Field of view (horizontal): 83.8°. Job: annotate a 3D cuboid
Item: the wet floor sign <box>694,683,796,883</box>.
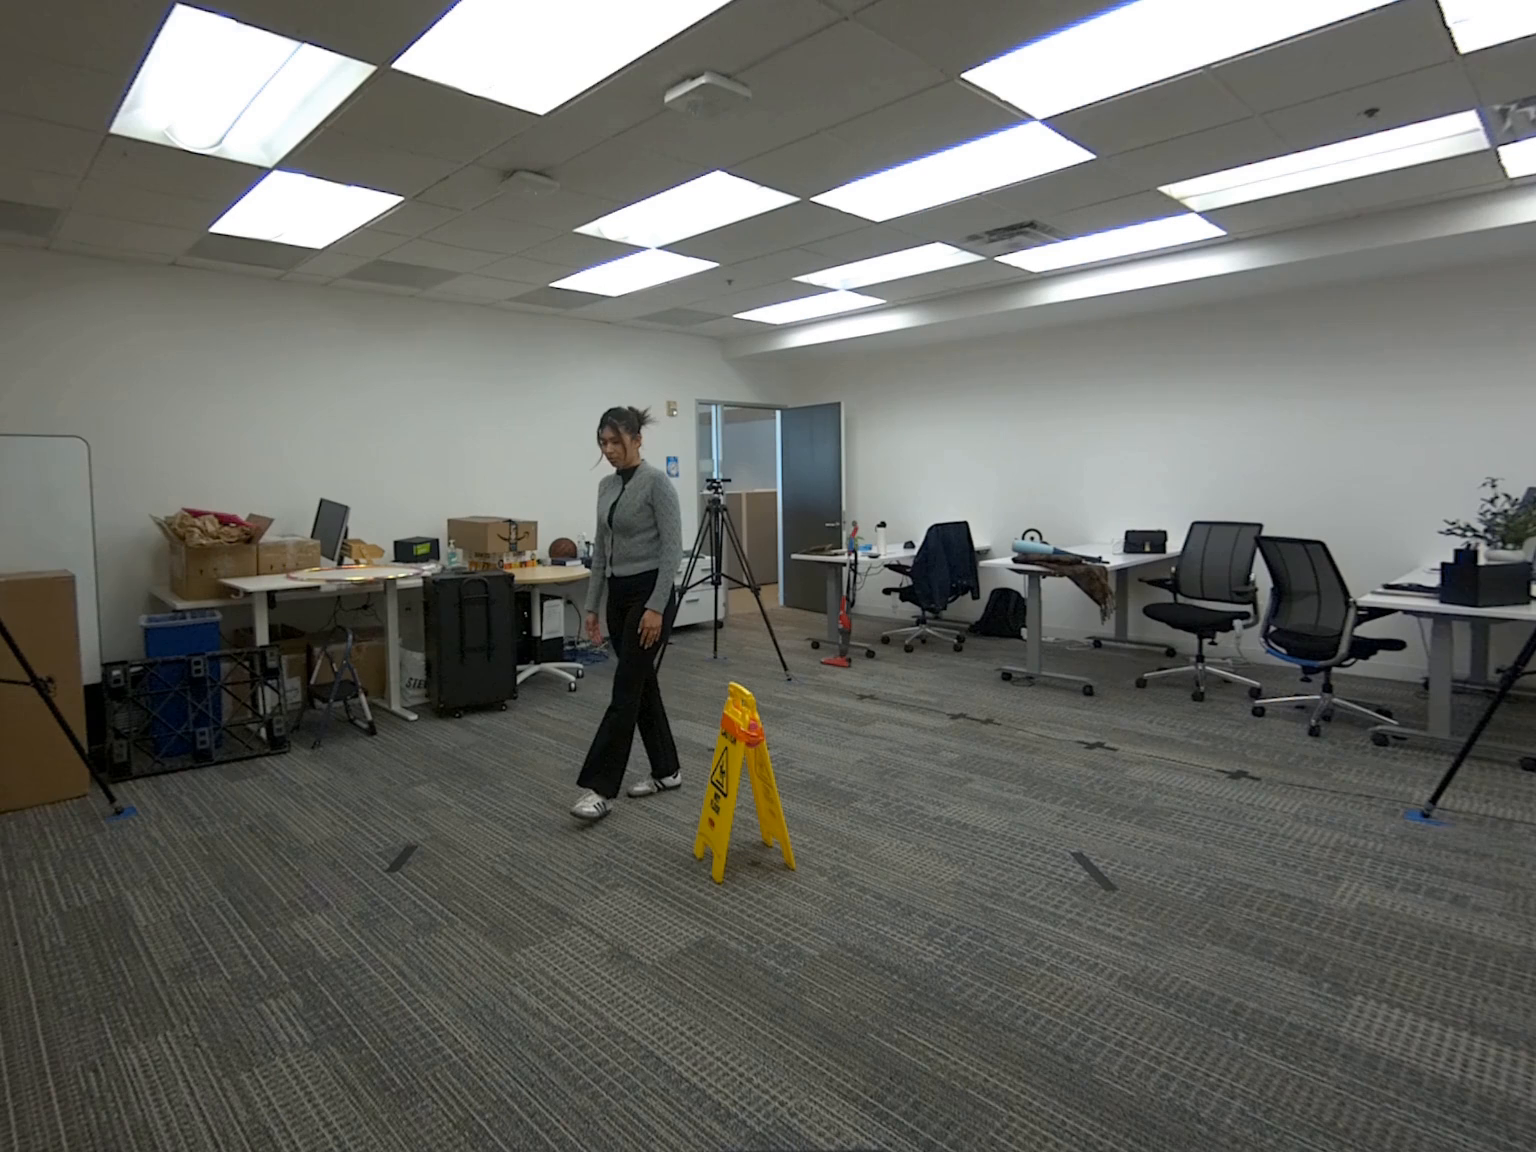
[{"bbox_3d":[-0.089,0.720,3.108,0.284,0.643,0.289,-2,5,-22],"label":"wet floor sign"}]
